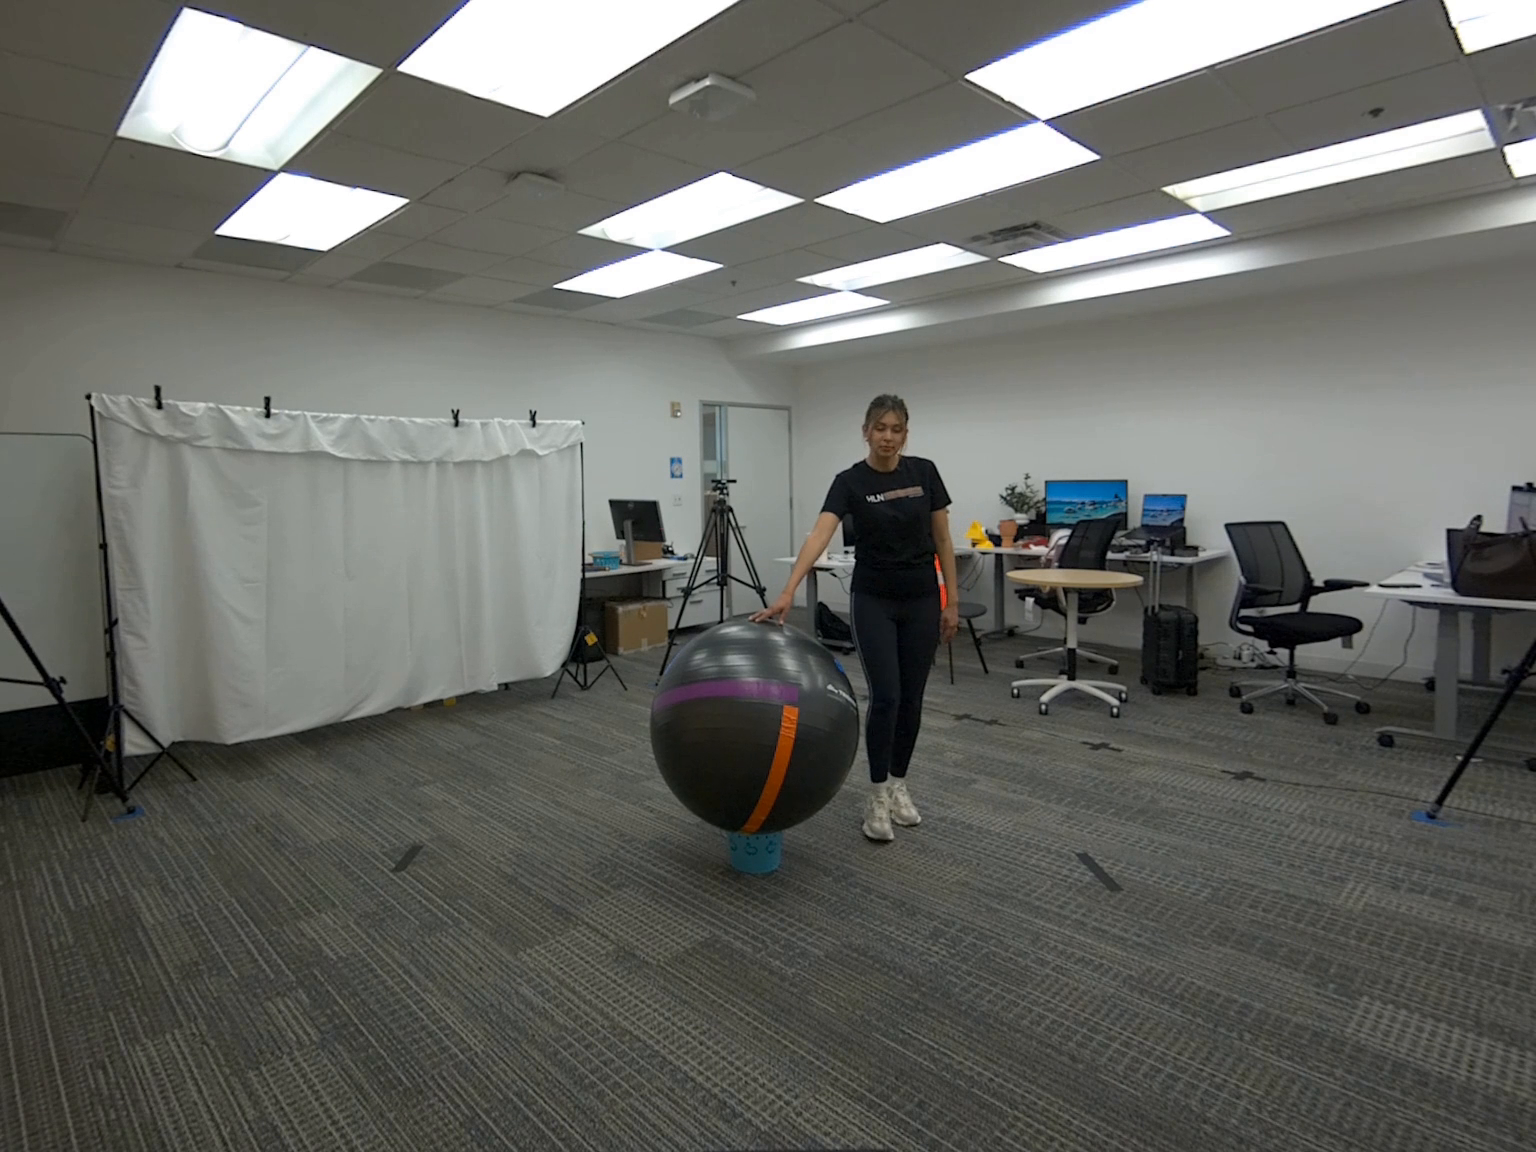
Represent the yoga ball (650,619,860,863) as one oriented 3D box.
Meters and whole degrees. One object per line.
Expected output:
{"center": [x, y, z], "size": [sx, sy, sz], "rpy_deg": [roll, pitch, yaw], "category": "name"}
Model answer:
{"center": [-0.049, 0.541, 3.104], "size": [0.757, 0.755, 0.762], "rpy_deg": [-1, 5, -2], "category": "yoga ball"}
